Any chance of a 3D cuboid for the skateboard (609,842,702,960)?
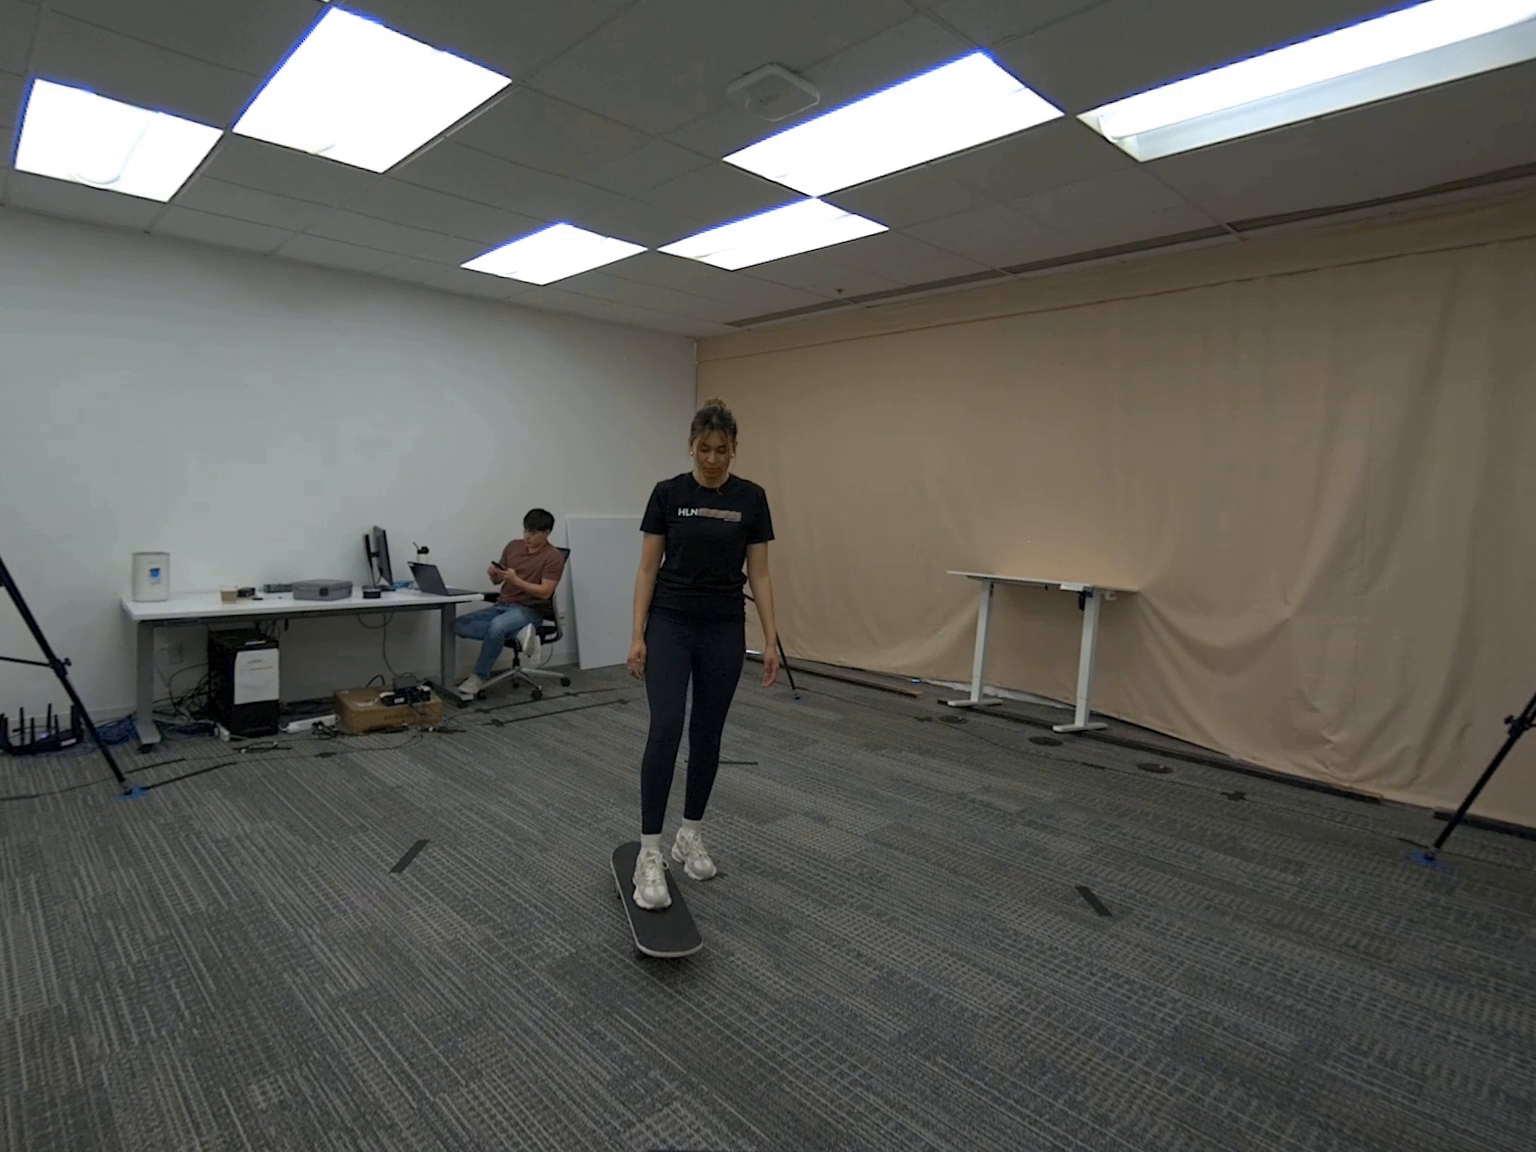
[{"bbox_3d":[-0.390,1.079,2.747,0.191,0.110,0.798,0,6,-17],"label":"skateboard"}]
